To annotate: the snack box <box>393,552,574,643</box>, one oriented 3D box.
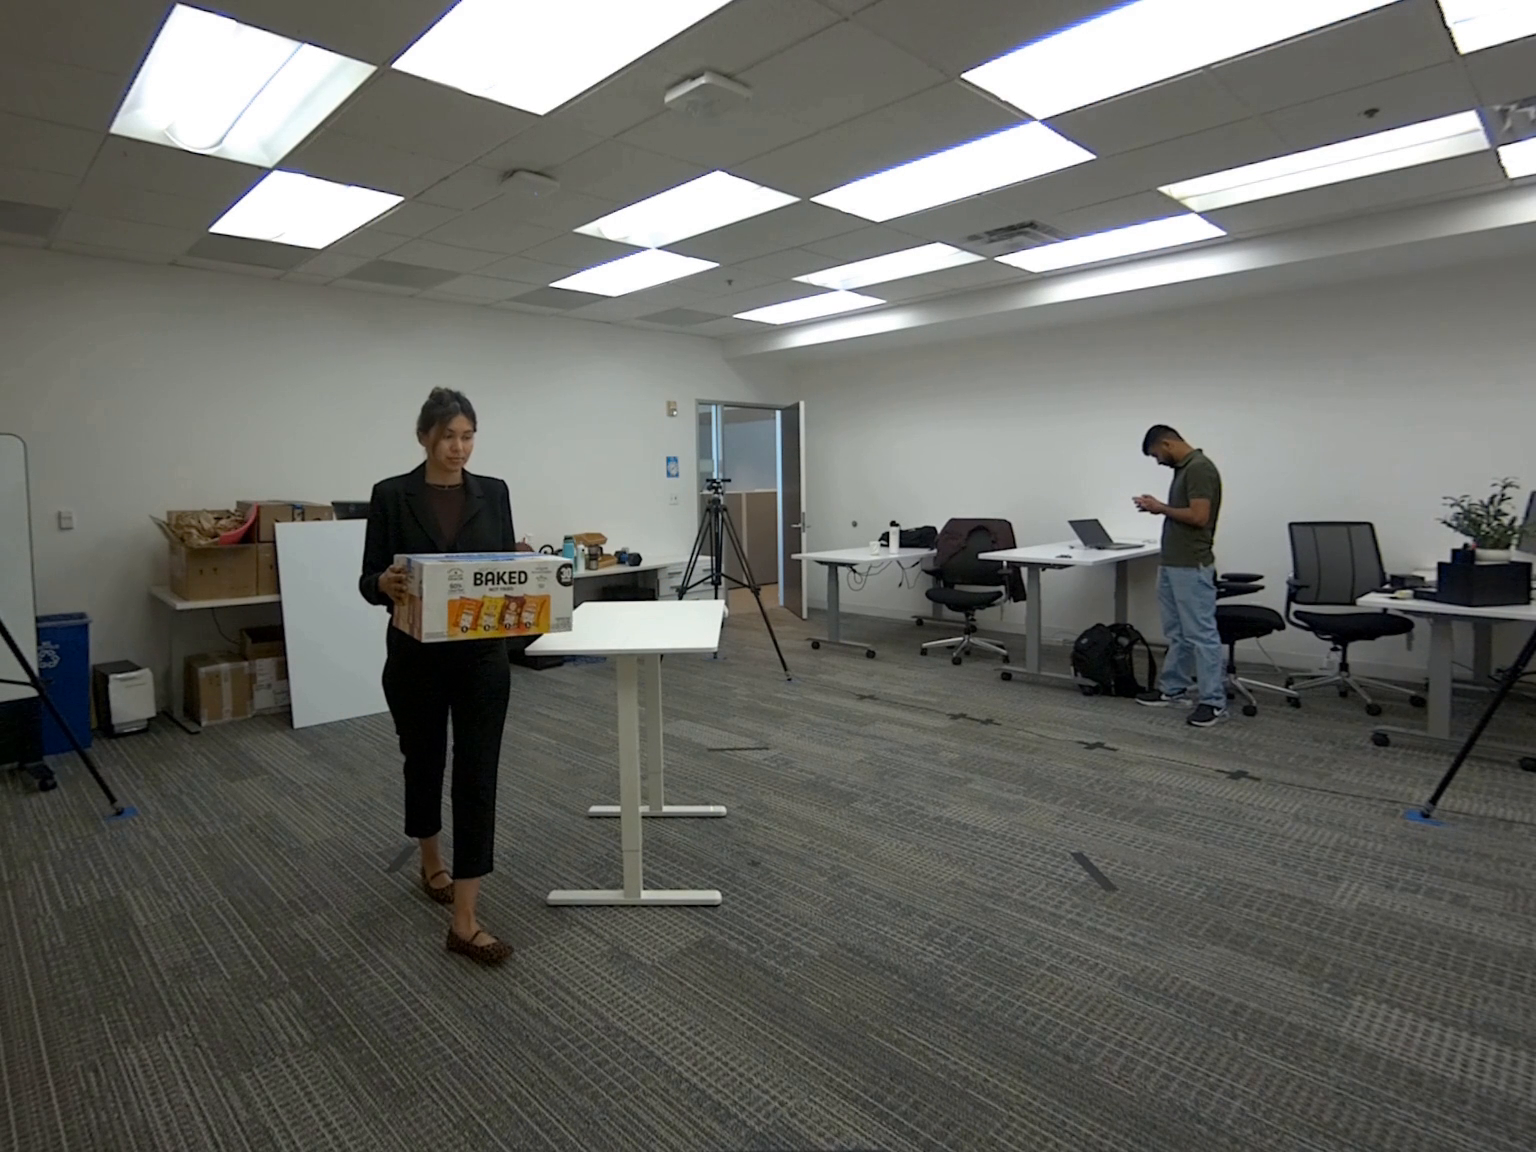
[{"bbox_3d":[-0.787,0.045,2.384,0.394,0.205,0.350,-2,6,-35],"label":"snack box"}]
